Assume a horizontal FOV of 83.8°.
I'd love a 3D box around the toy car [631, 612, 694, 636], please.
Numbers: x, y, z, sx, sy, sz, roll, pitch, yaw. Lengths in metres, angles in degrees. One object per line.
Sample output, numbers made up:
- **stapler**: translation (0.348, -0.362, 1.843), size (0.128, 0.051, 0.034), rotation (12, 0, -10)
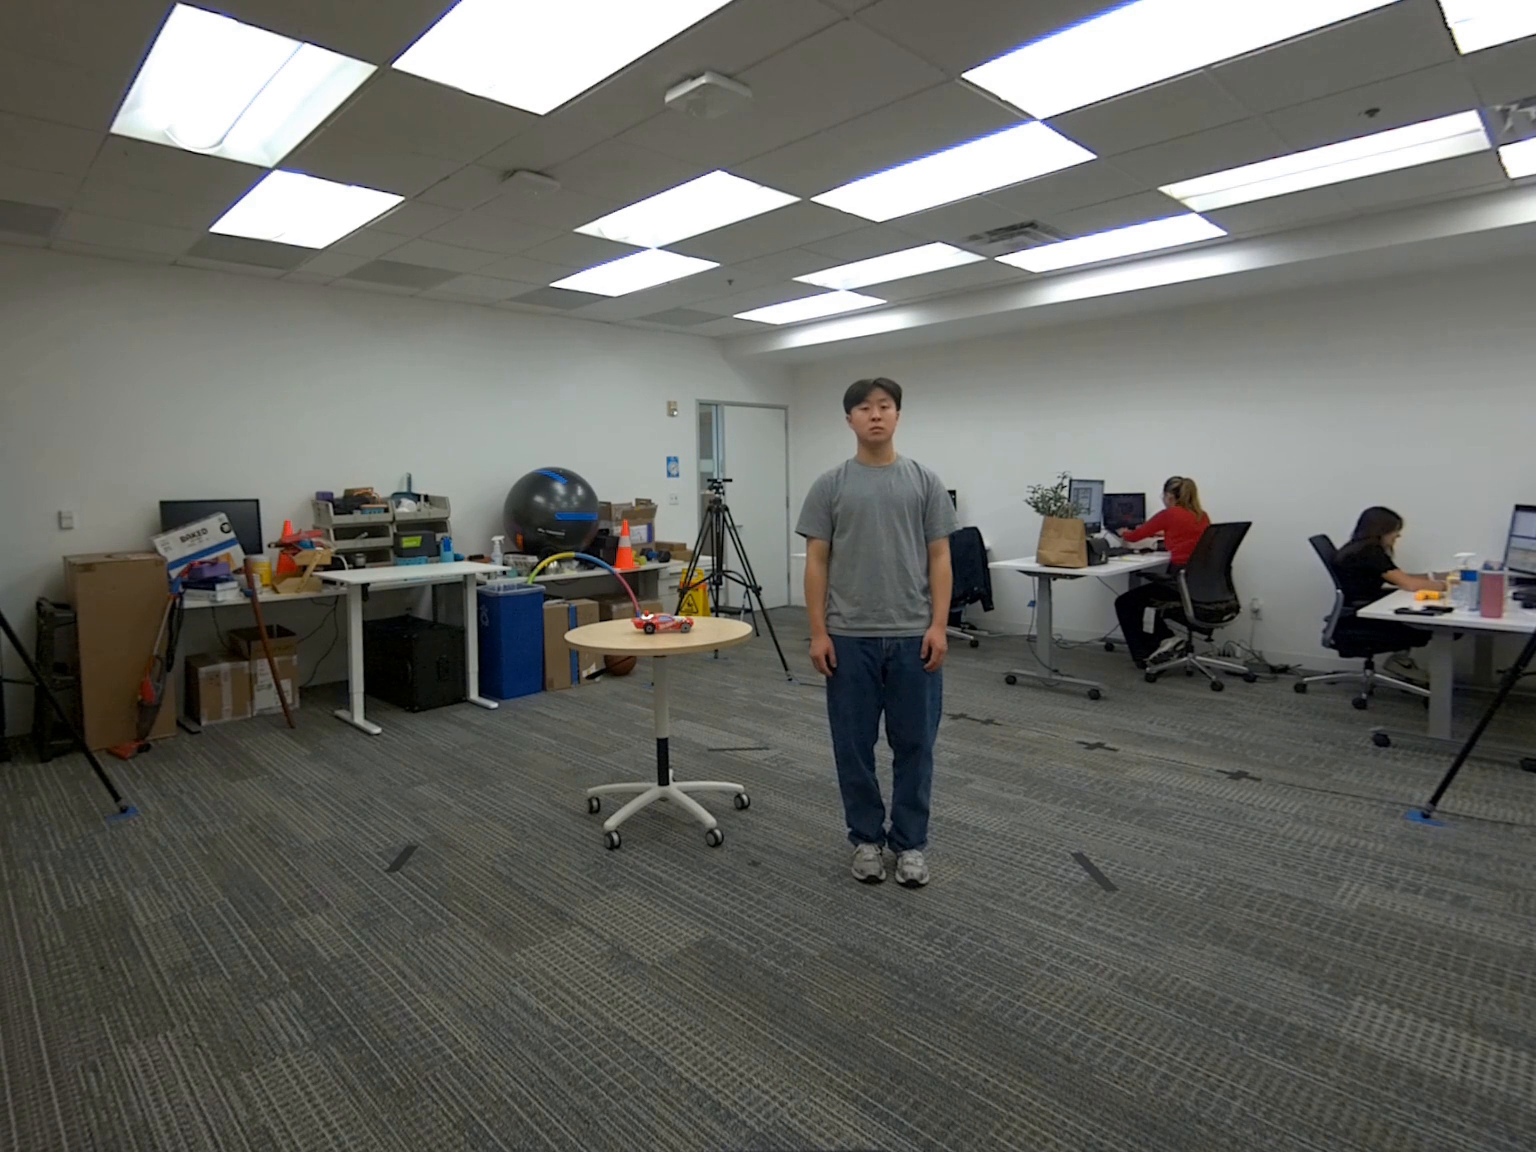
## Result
- **toy car**: translation (-0.430, 0.196, 3.480), size (0.253, 0.083, 0.131), rotation (9, 4, -4)
